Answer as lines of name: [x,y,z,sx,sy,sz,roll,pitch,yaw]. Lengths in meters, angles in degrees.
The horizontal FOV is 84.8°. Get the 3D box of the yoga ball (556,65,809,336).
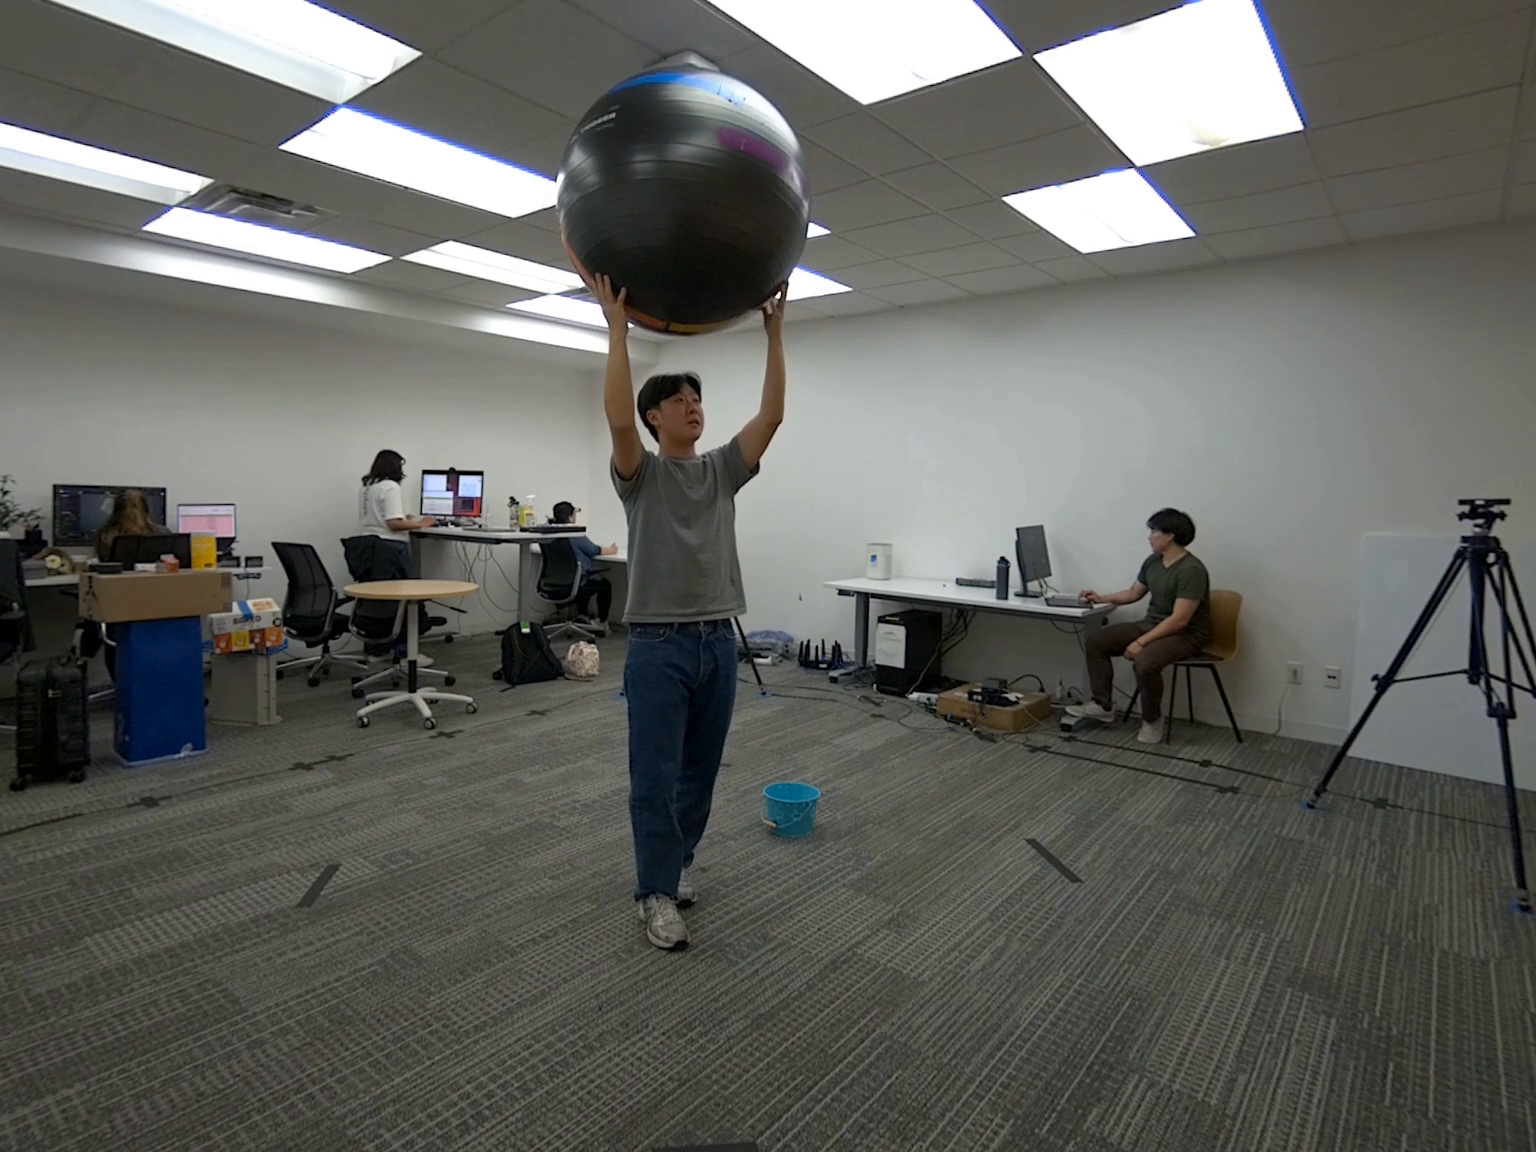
yoga ball: [-0.269,-1.106,2.560,0.757,0.756,0.761,1,4,-2]
